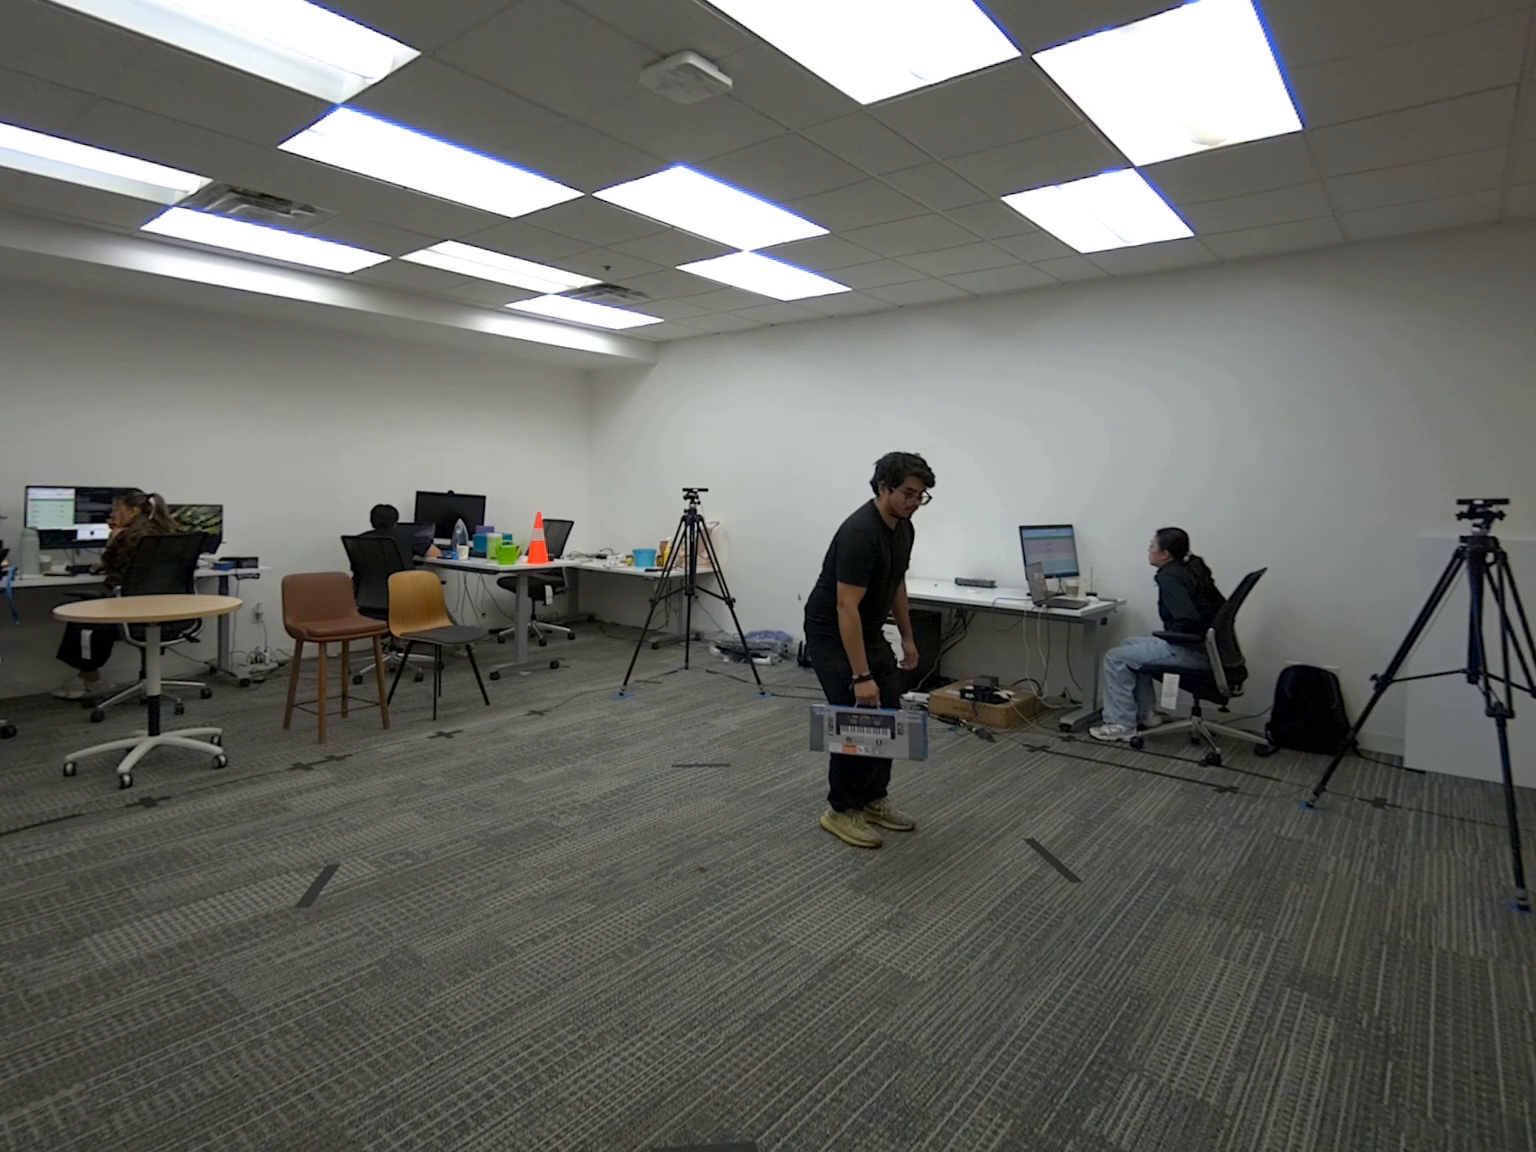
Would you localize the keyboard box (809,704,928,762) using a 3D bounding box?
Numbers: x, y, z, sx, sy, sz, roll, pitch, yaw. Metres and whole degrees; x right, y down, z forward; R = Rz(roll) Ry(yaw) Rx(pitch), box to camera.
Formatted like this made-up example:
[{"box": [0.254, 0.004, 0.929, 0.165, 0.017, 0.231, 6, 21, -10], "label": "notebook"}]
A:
[{"box": [0.366, 0.583, 3.178, 0.447, 0.176, 0.057, -1, -2, 25], "label": "keyboard box"}]
